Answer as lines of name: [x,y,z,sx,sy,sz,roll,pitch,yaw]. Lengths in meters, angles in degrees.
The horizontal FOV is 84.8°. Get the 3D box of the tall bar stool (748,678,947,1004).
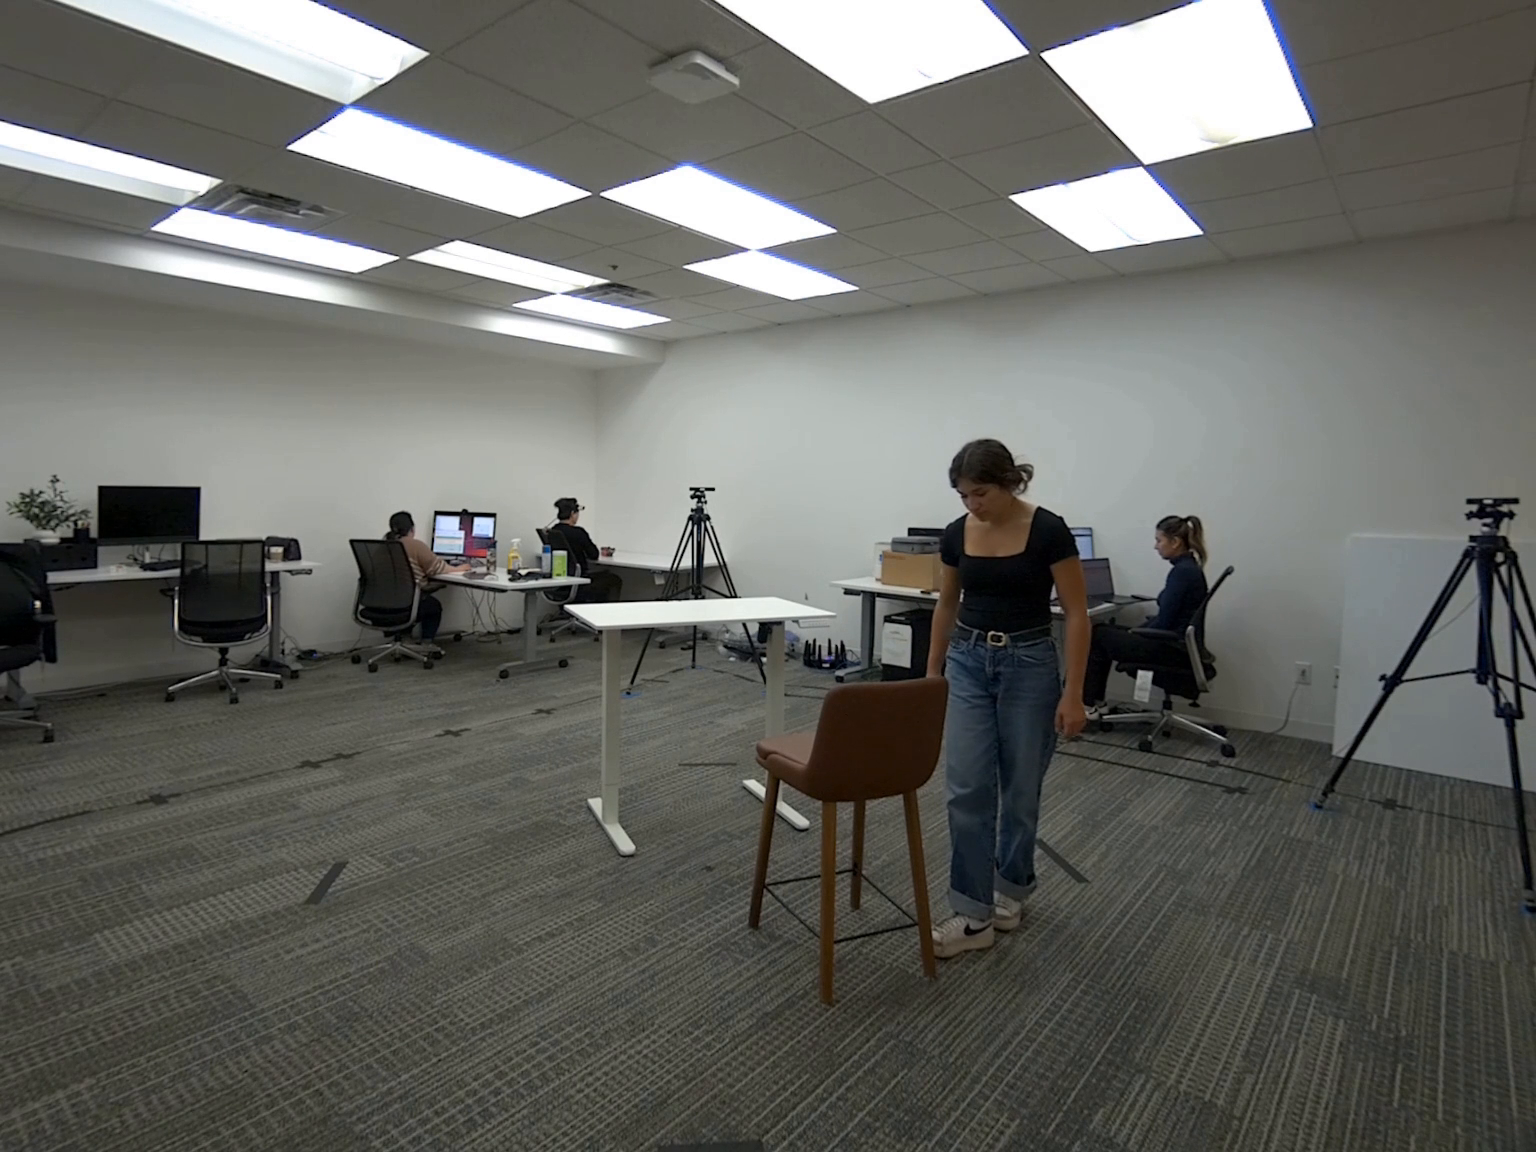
tall bar stool: [0.227,0.698,2.555,0.445,0.886,0.481,0,5,-26]
